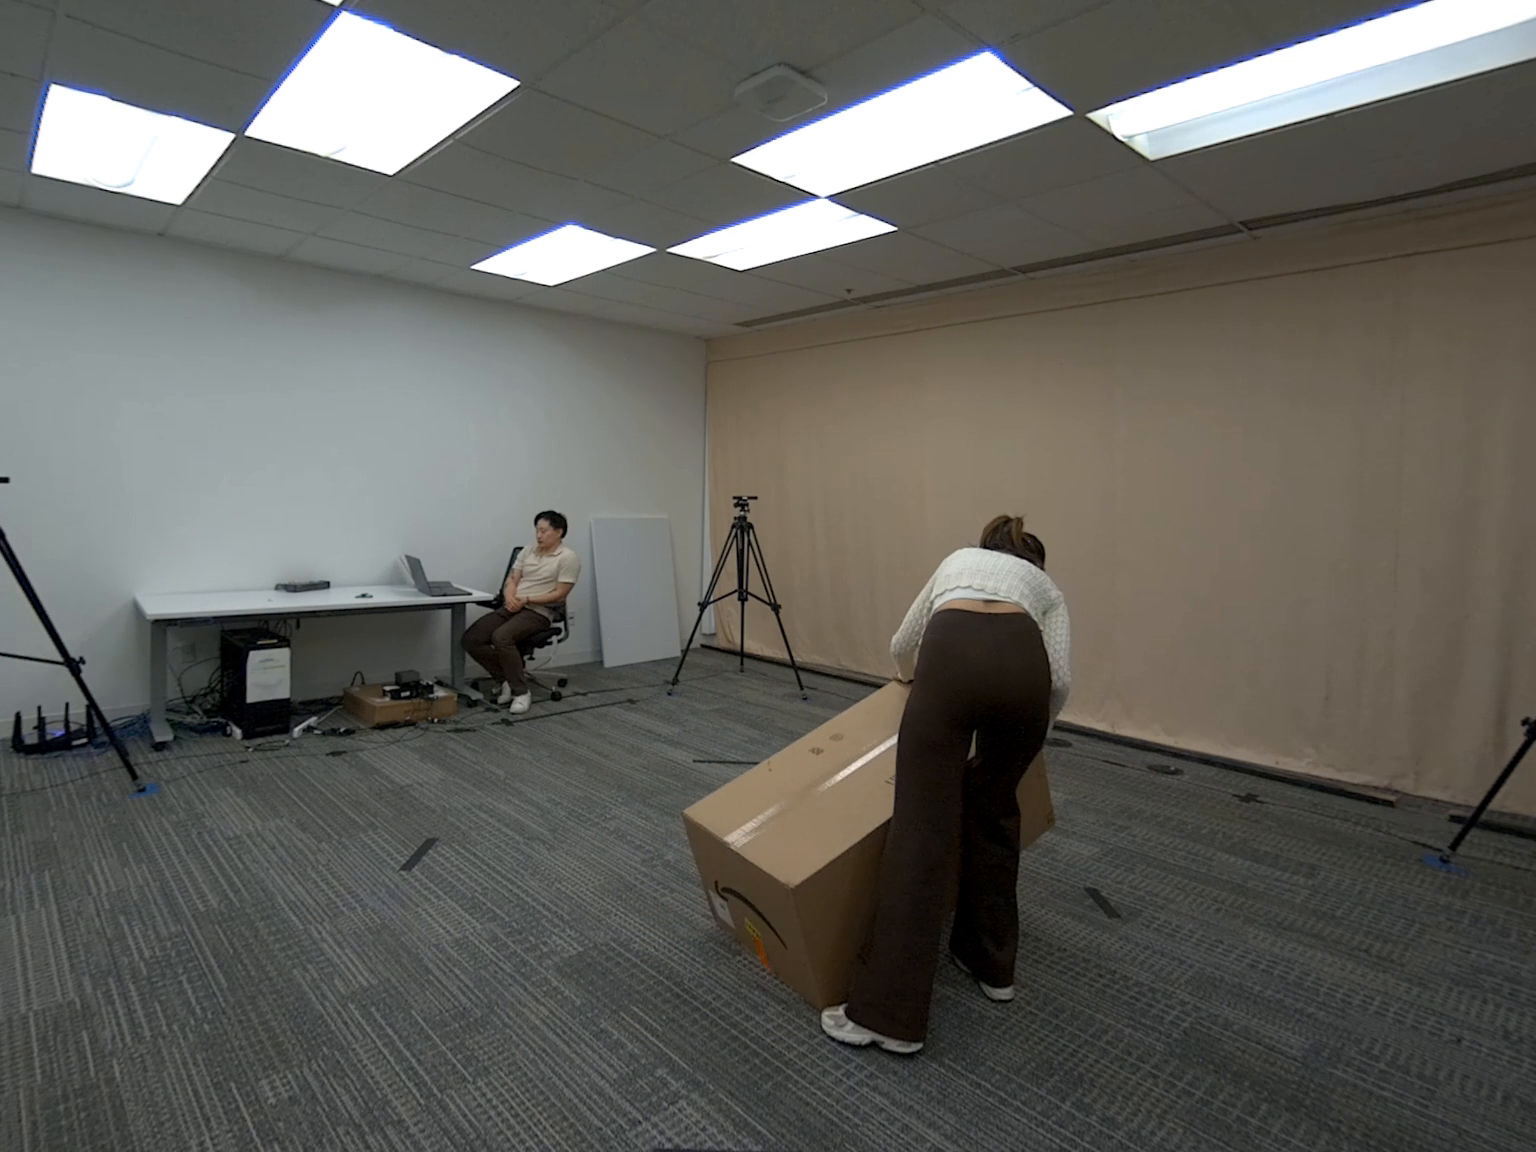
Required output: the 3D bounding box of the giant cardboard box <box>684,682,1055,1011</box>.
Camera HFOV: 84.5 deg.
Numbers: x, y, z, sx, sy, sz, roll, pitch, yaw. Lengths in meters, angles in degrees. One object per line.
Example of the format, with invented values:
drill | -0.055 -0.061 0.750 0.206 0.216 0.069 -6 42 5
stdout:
giant cardboard box | 0.330 0.777 2.705 1.015 0.420 0.592 -25 19 -29
